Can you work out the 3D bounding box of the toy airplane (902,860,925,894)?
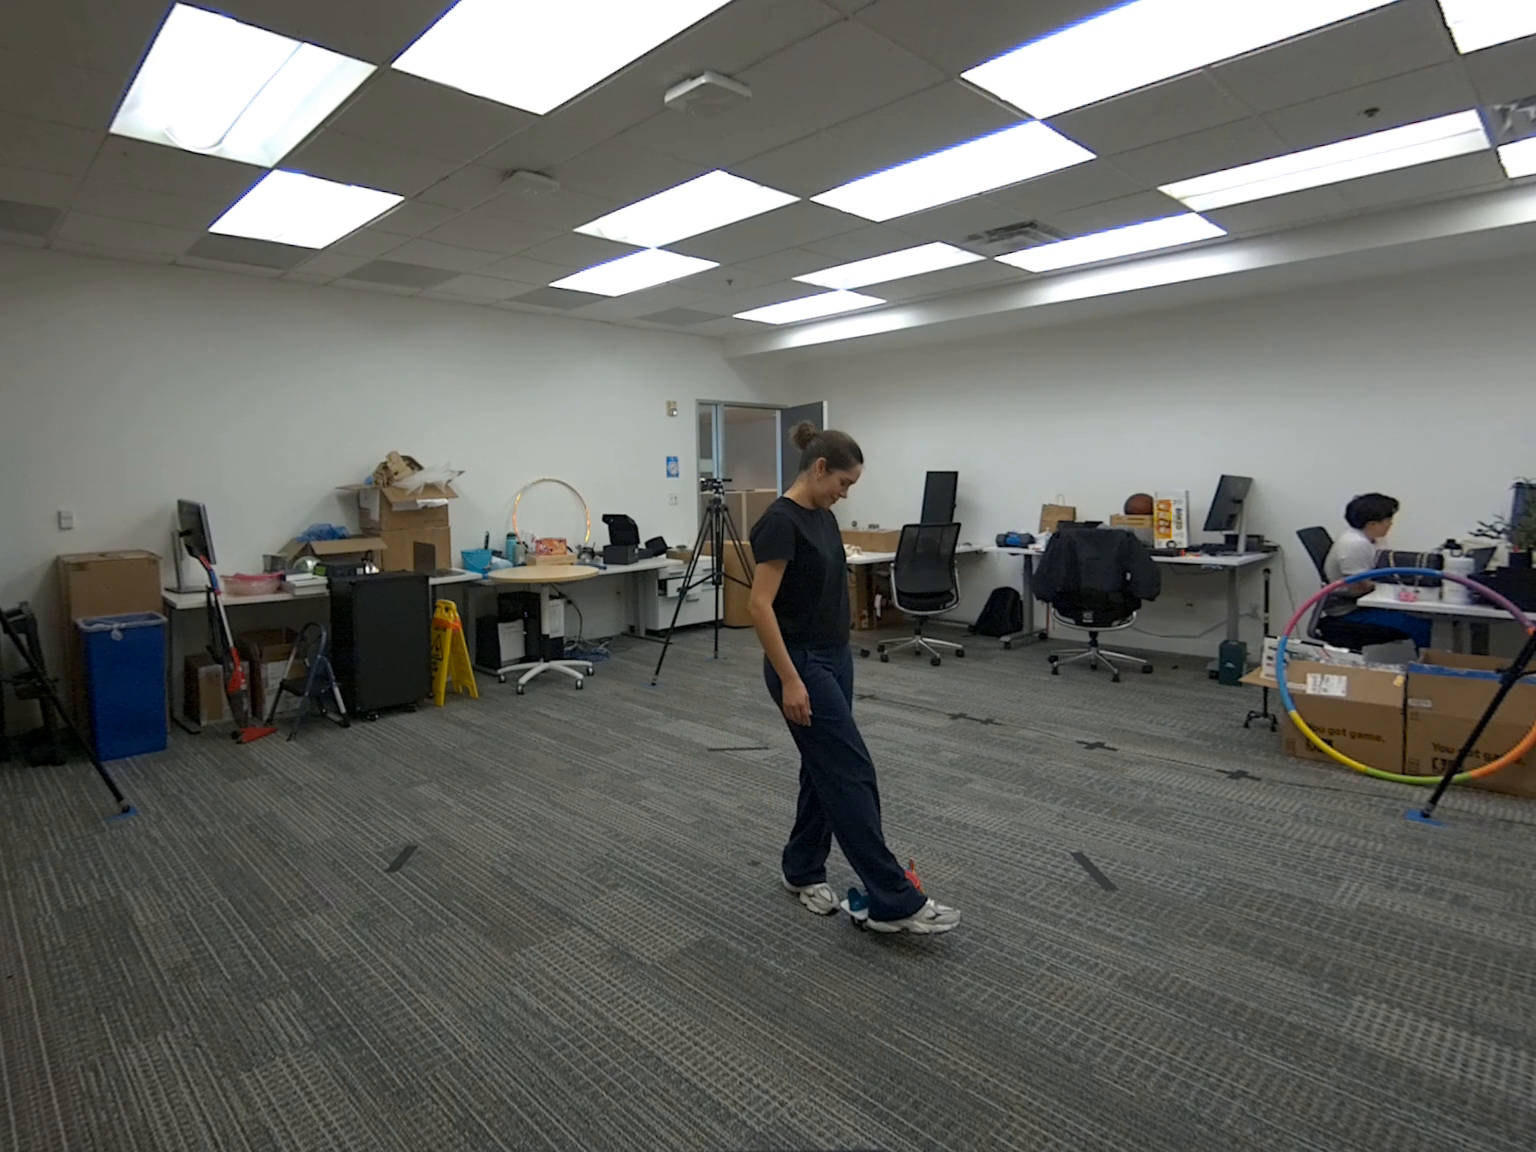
[{"bbox_3d":[0.380,1.012,2.690,0.258,0.156,0.252,2,3,37],"label":"toy airplane"}]
